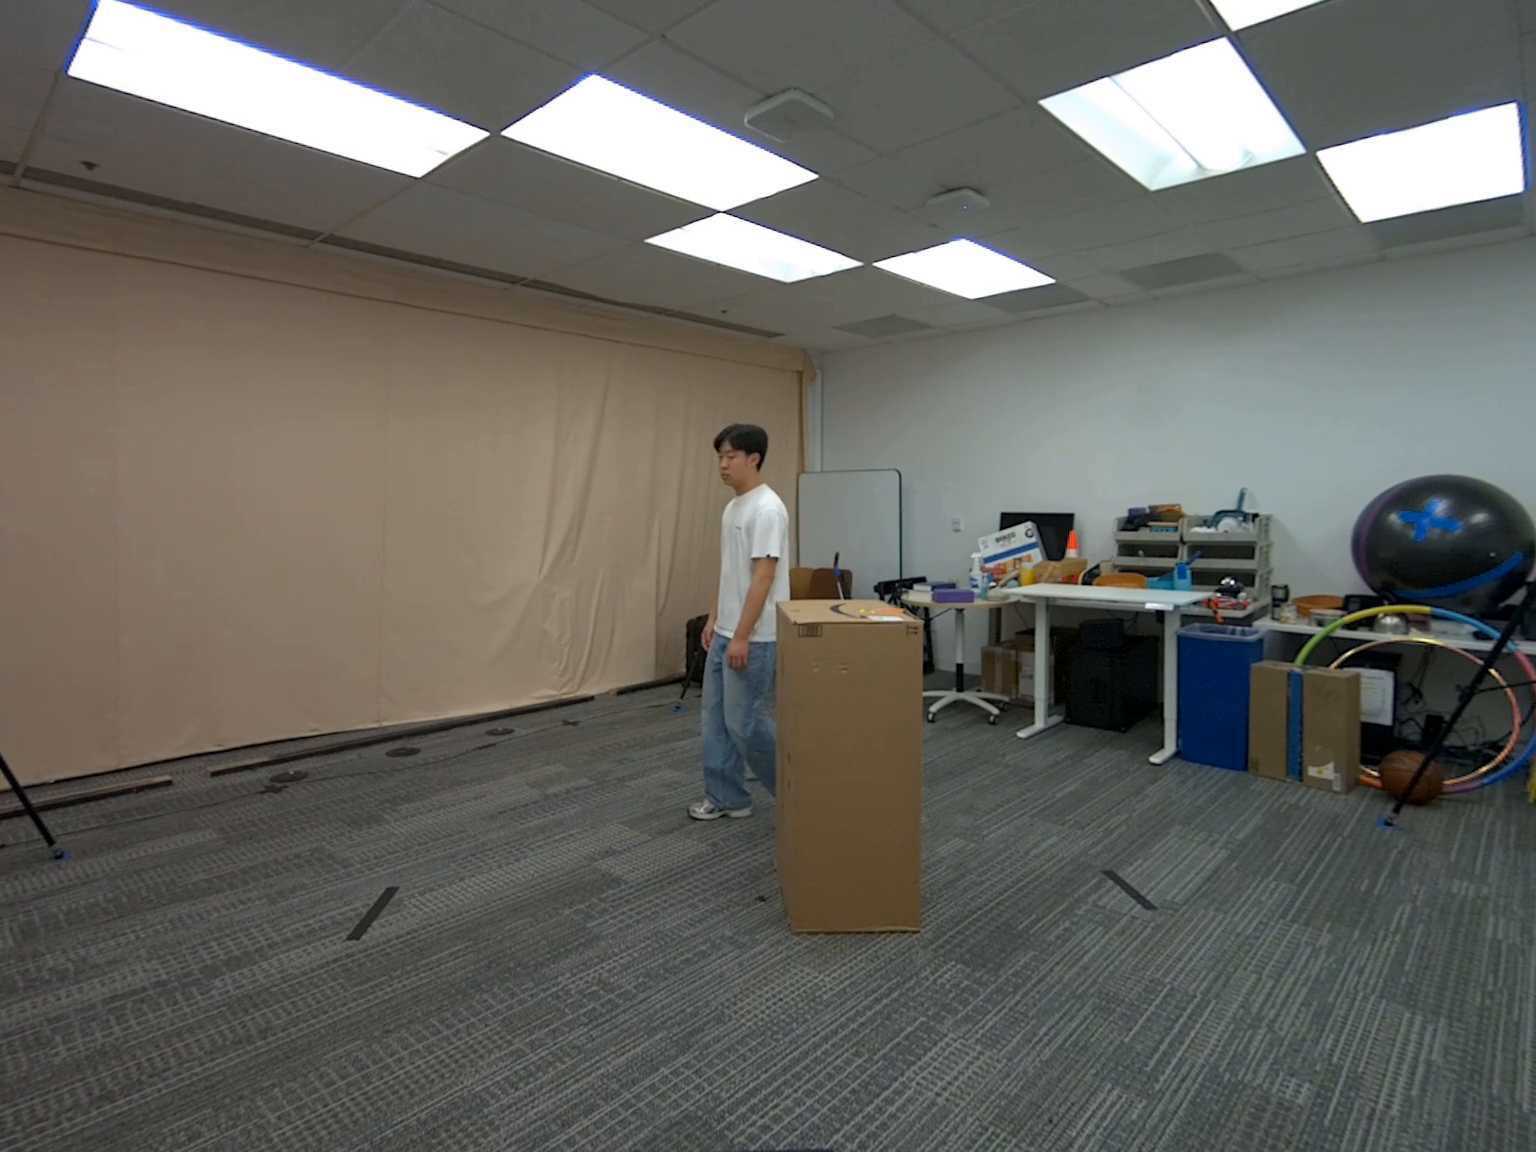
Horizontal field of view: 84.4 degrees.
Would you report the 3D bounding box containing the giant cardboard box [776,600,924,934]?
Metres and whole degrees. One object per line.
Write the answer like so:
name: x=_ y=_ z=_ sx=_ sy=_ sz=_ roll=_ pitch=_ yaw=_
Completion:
giant cardboard box: x=0.273 y=0.633 z=2.997 sx=0.425 sy=1.024 sz=0.581 roll=0 pitch=3 yaw=-4
